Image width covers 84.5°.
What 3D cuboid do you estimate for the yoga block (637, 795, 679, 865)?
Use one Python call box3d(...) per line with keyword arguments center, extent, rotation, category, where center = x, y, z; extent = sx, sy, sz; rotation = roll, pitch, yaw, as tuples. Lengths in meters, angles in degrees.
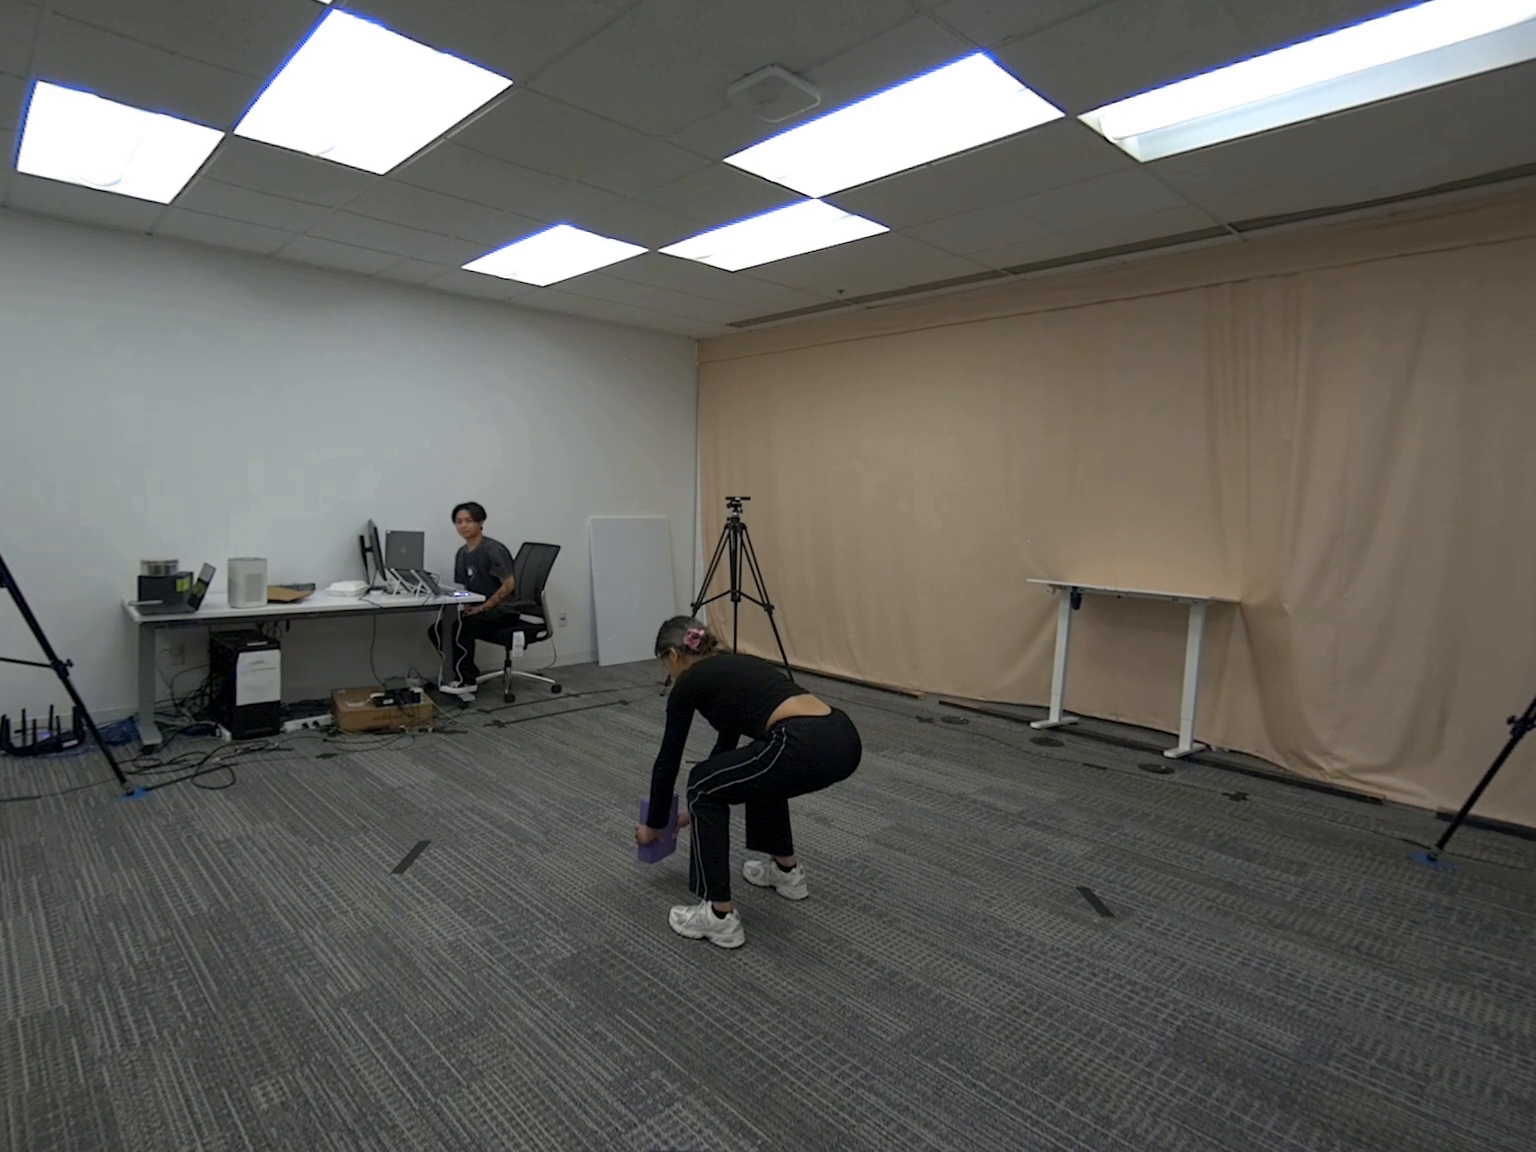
box3d(center=(-0.405, 0.892, 3.053), extent=(0.078, 0.229, 0.146), rotation=(3, 3, 28), category="yoga block")
